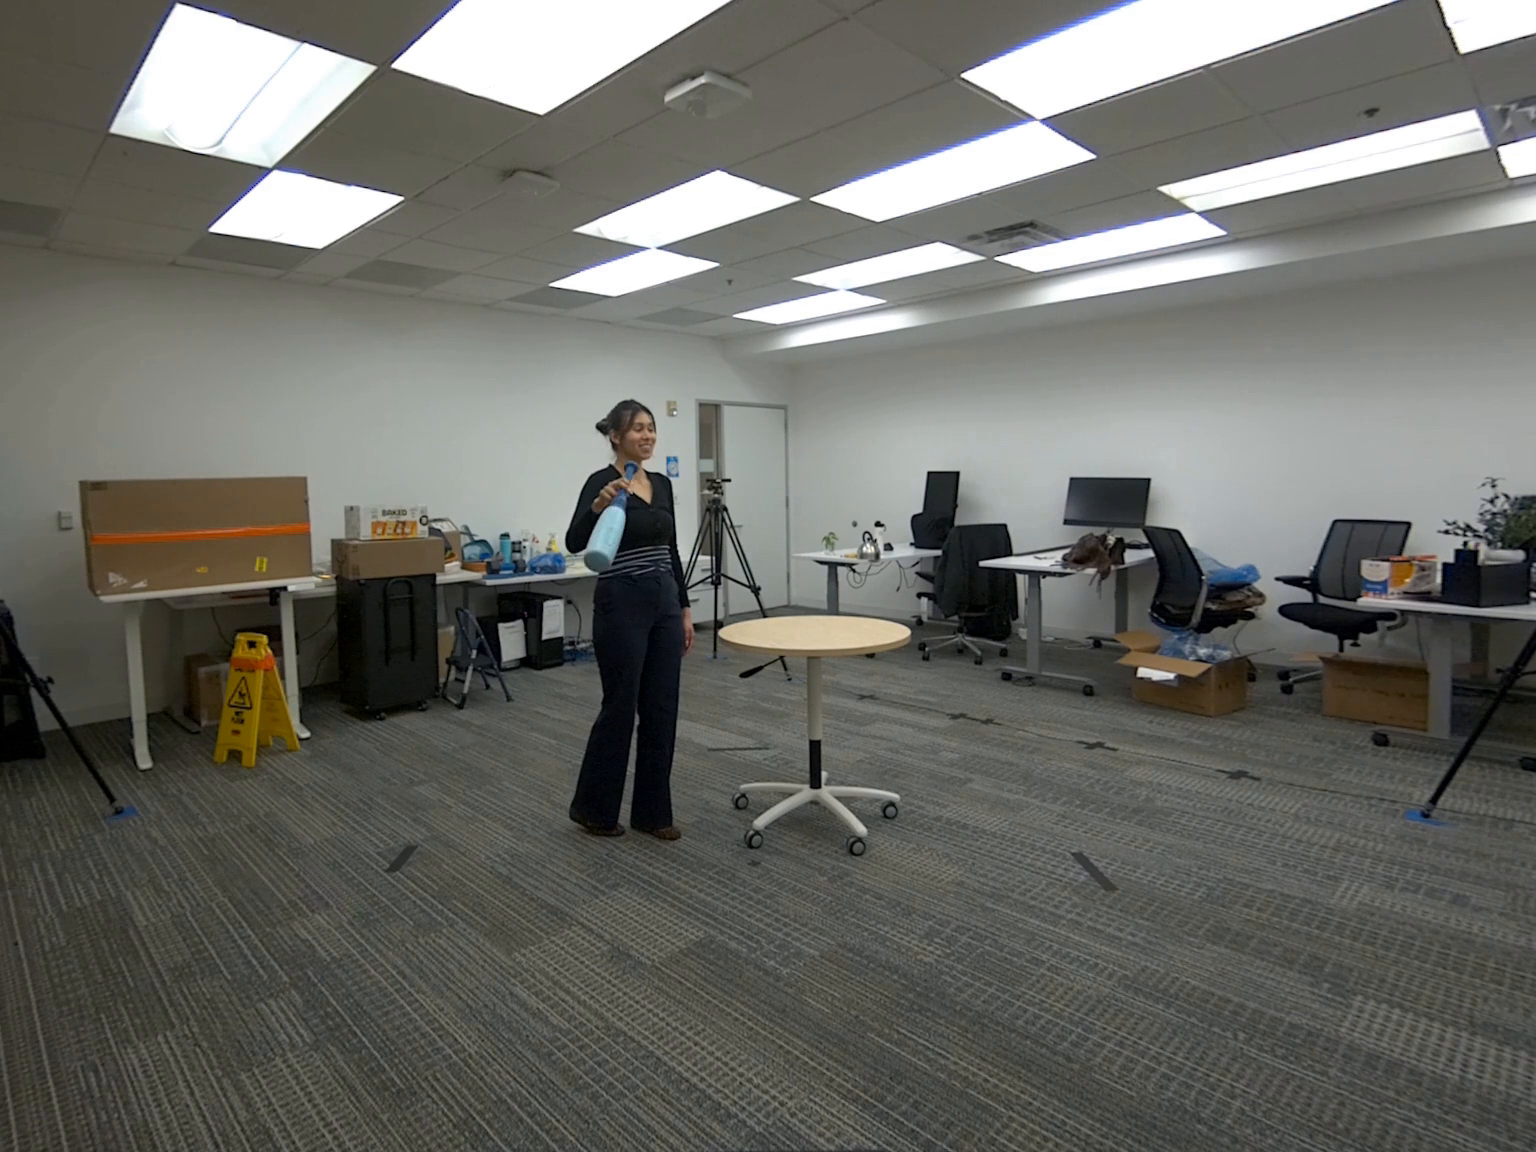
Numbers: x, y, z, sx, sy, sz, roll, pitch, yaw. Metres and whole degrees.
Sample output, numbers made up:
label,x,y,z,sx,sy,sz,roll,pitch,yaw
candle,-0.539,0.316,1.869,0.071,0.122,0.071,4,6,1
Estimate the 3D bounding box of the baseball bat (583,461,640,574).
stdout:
label,x,y,z,sx,sy,sz,roll,pitch,yaw
baseball bat,-0.486,-0.200,2.729,0.089,0.086,0.555,-1,39,5
